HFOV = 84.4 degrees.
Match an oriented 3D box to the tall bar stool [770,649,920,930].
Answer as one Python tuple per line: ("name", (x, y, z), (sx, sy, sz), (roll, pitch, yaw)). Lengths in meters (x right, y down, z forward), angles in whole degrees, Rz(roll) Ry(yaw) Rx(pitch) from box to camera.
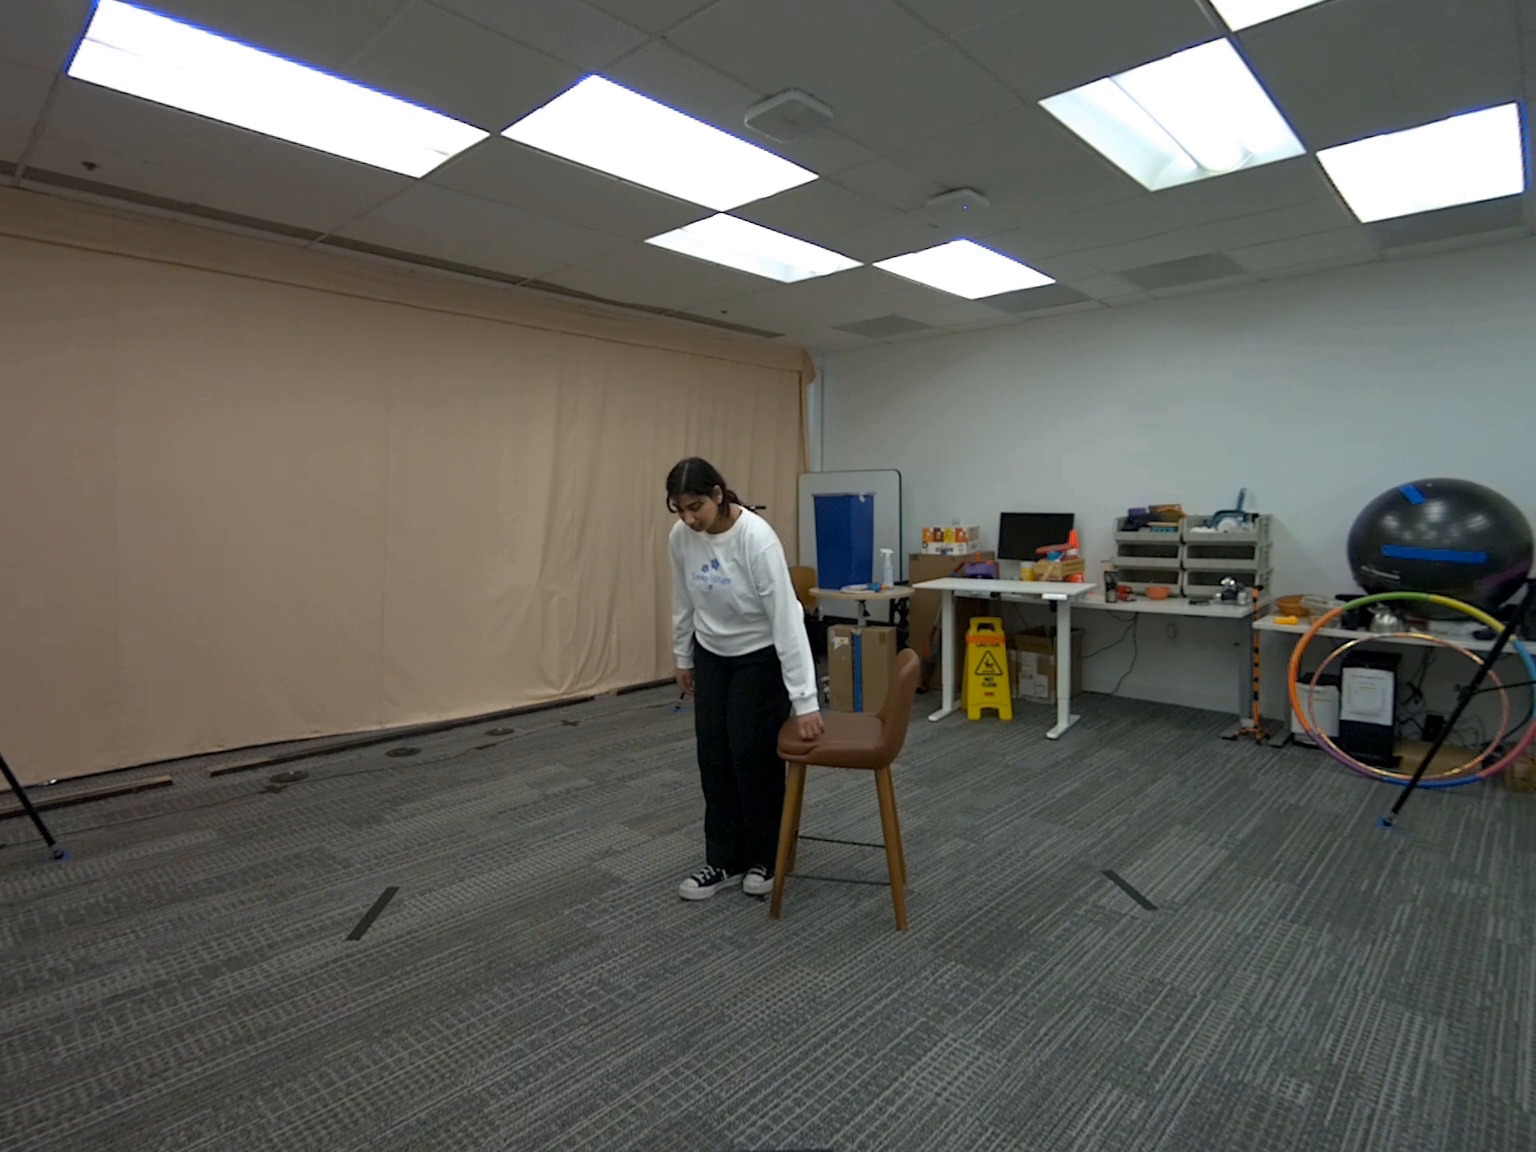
("tall bar stool", (0.277, 0.710, 2.957), (0.474, 0.888, 0.451), (3, 4, 12))
